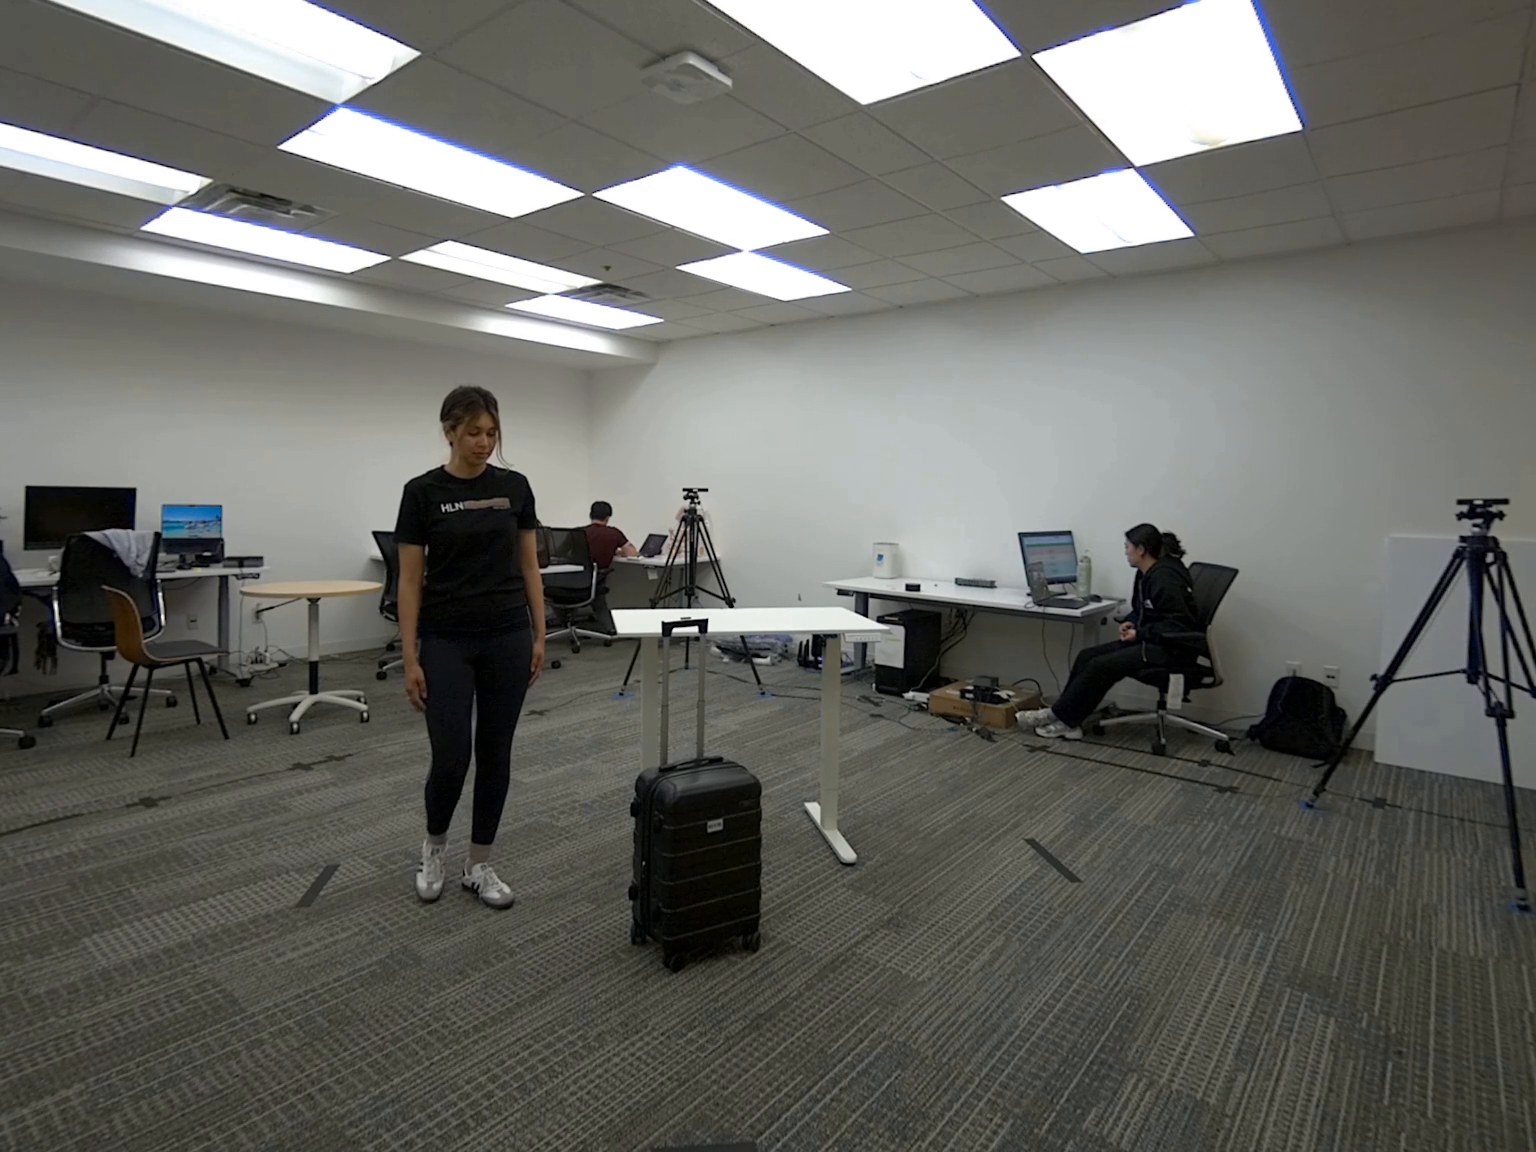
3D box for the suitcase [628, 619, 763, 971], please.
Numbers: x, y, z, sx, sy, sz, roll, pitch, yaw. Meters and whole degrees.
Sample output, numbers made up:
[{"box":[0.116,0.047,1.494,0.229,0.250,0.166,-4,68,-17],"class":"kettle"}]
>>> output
[{"box":[-0.214,0.644,2.570,0.374,0.975,0.265,0,4,-28],"class":"suitcase"}]
